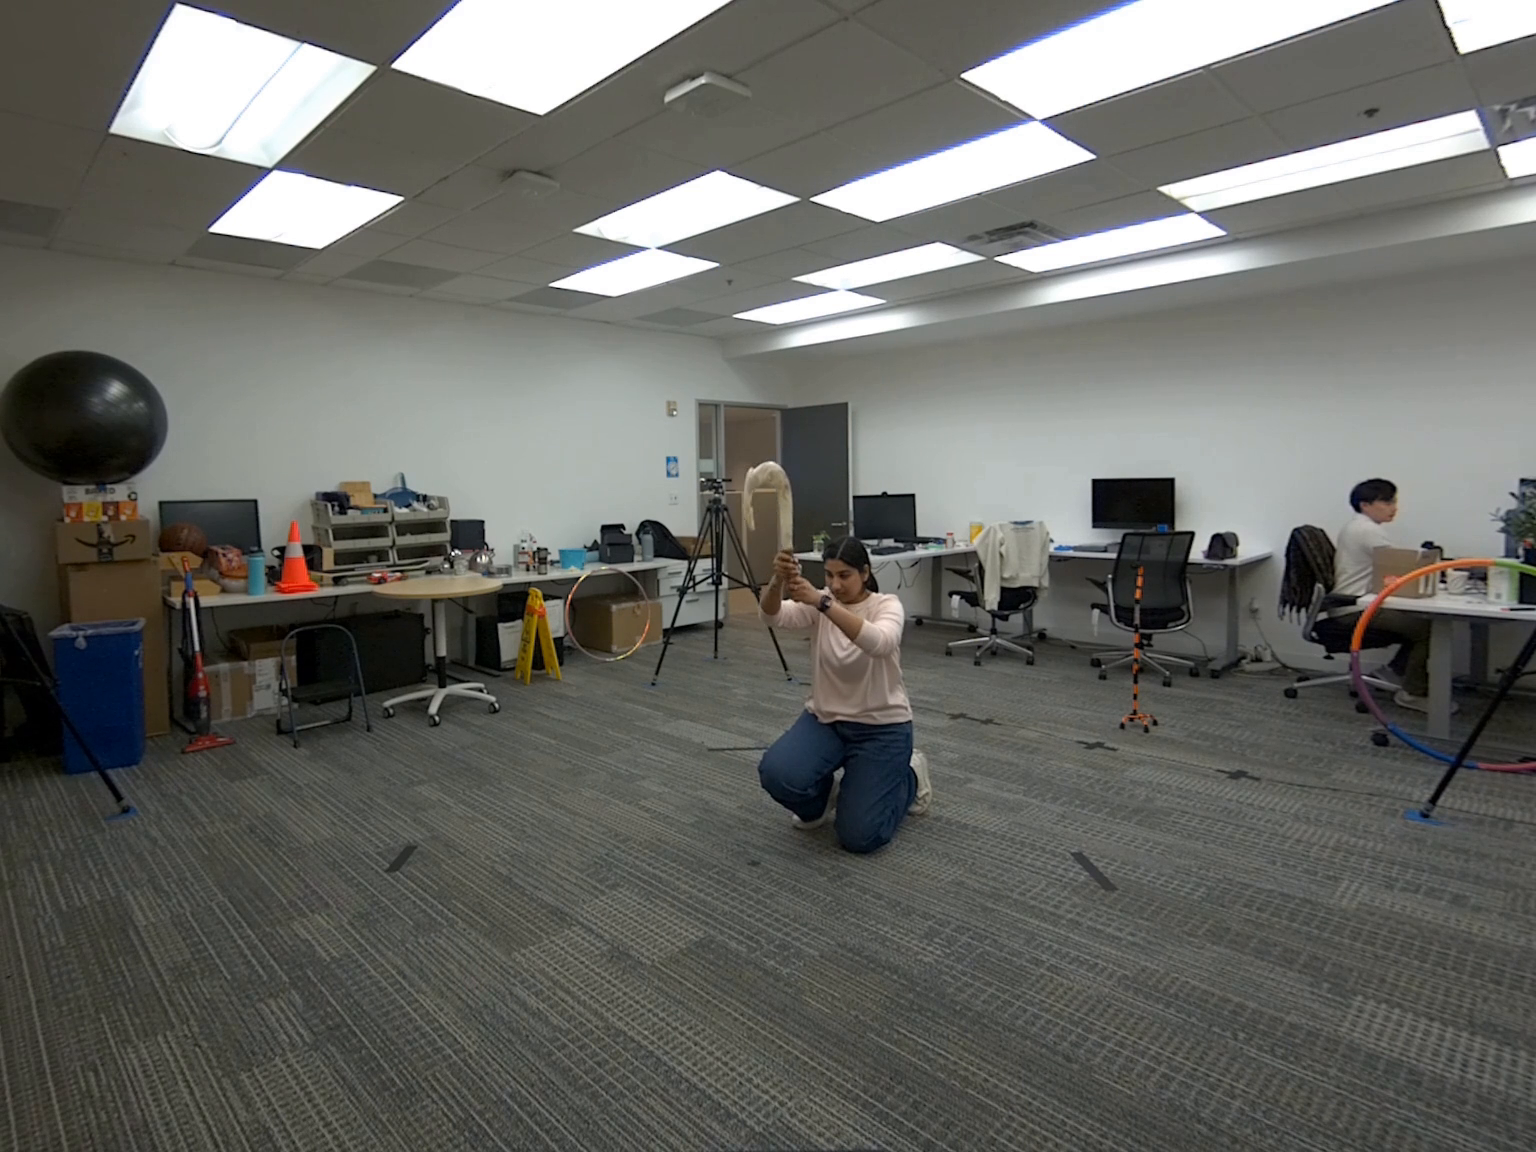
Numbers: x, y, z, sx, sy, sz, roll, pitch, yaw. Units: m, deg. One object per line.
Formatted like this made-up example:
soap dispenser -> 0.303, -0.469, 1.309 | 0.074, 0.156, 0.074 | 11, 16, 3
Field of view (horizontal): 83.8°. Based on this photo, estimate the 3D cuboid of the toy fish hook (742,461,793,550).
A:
toy fish hook -> 0.027, -0.121, 2.866 | 0.221, 0.498, 0.050 | -24, 19, -35
